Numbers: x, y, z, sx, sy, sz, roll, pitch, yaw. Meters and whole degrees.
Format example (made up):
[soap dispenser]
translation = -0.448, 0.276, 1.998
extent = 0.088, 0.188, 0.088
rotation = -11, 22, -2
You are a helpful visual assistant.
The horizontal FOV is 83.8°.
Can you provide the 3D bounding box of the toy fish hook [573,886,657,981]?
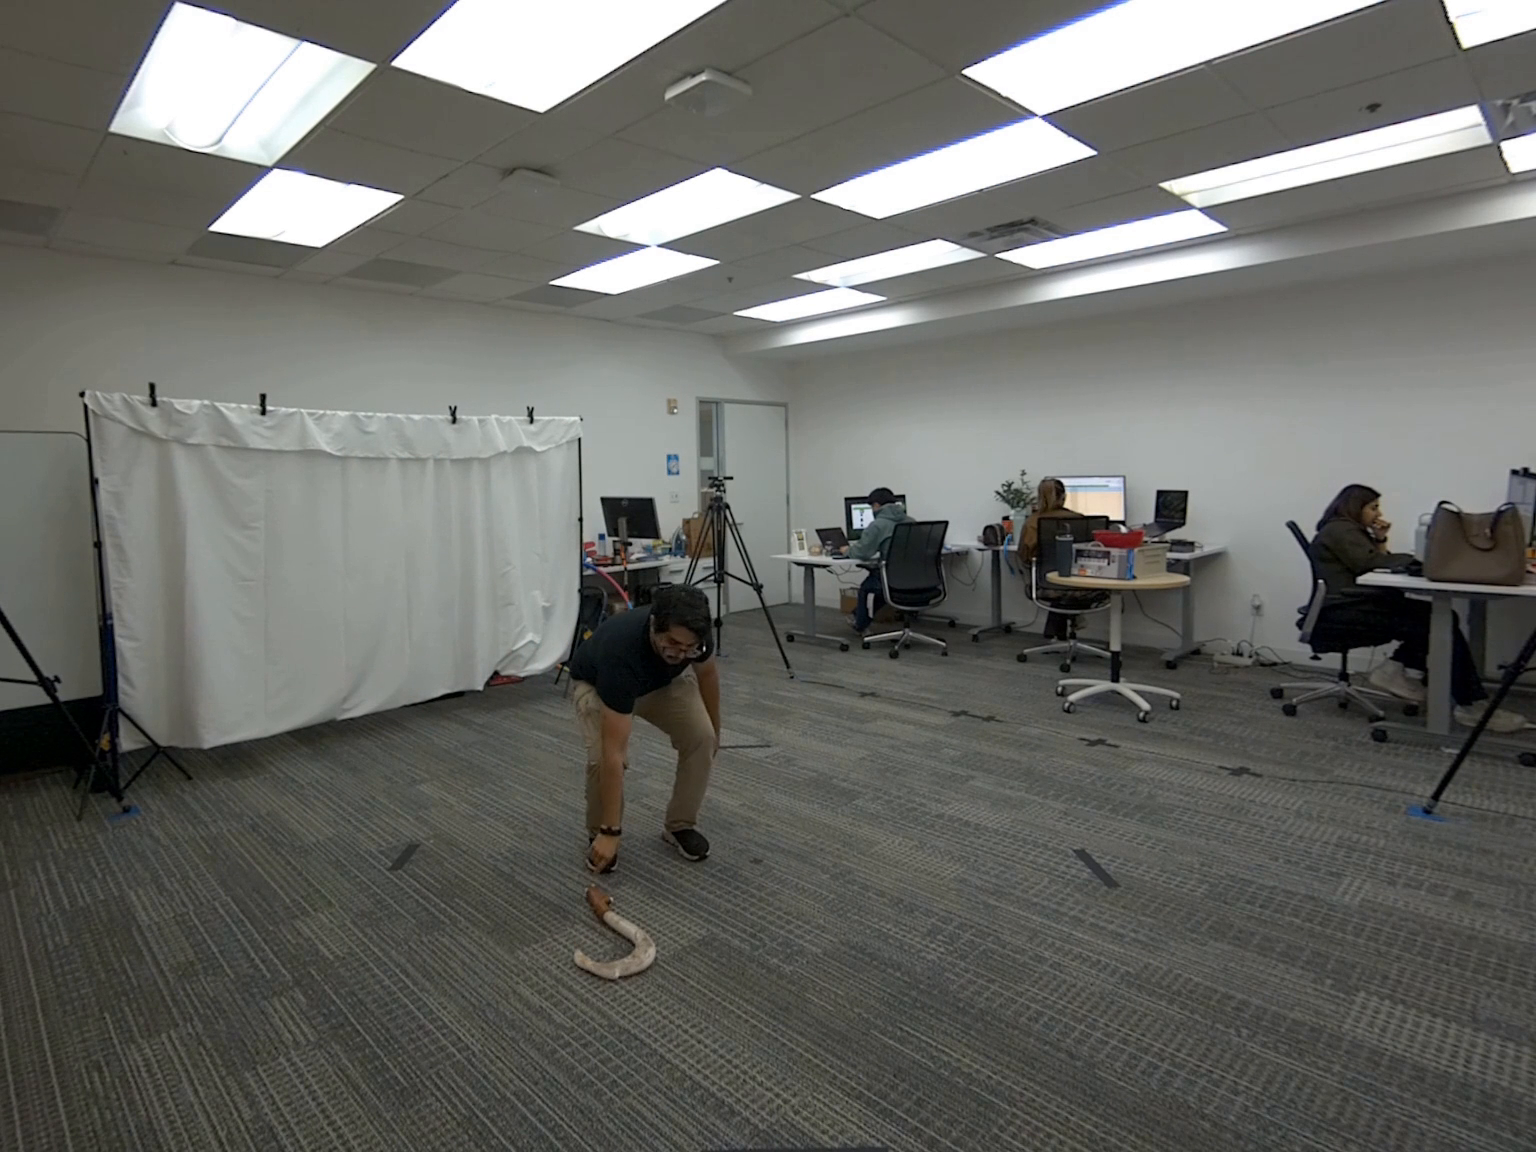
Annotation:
[toy fish hook]
translation = -0.512, 1.086, 2.616
extent = 0.220, 0.048, 0.520
rotation = -5, 7, -29
